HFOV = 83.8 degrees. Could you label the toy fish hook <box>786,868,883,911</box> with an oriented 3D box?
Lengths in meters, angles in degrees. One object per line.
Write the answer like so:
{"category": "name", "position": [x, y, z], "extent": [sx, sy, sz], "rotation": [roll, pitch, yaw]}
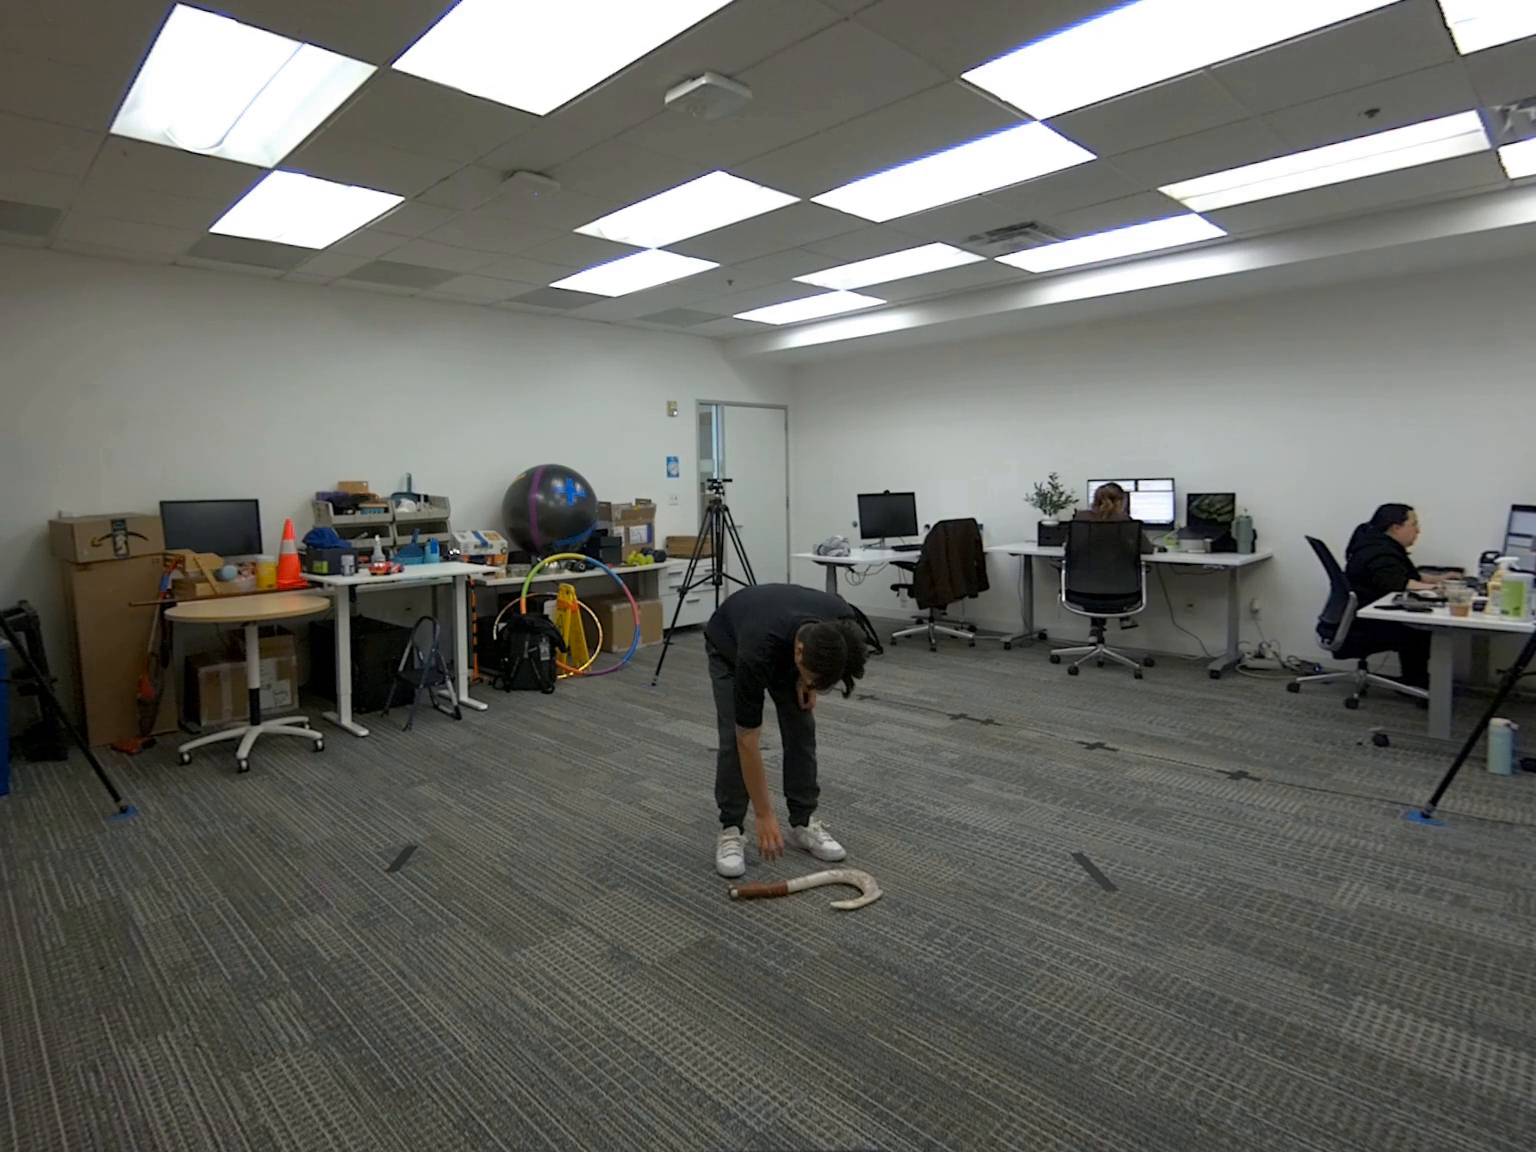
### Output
{"category": "toy fish hook", "position": [0.126, 1.047, 2.835], "extent": [0.501, 0.048, 0.228], "rotation": [-3, 5, -12]}
